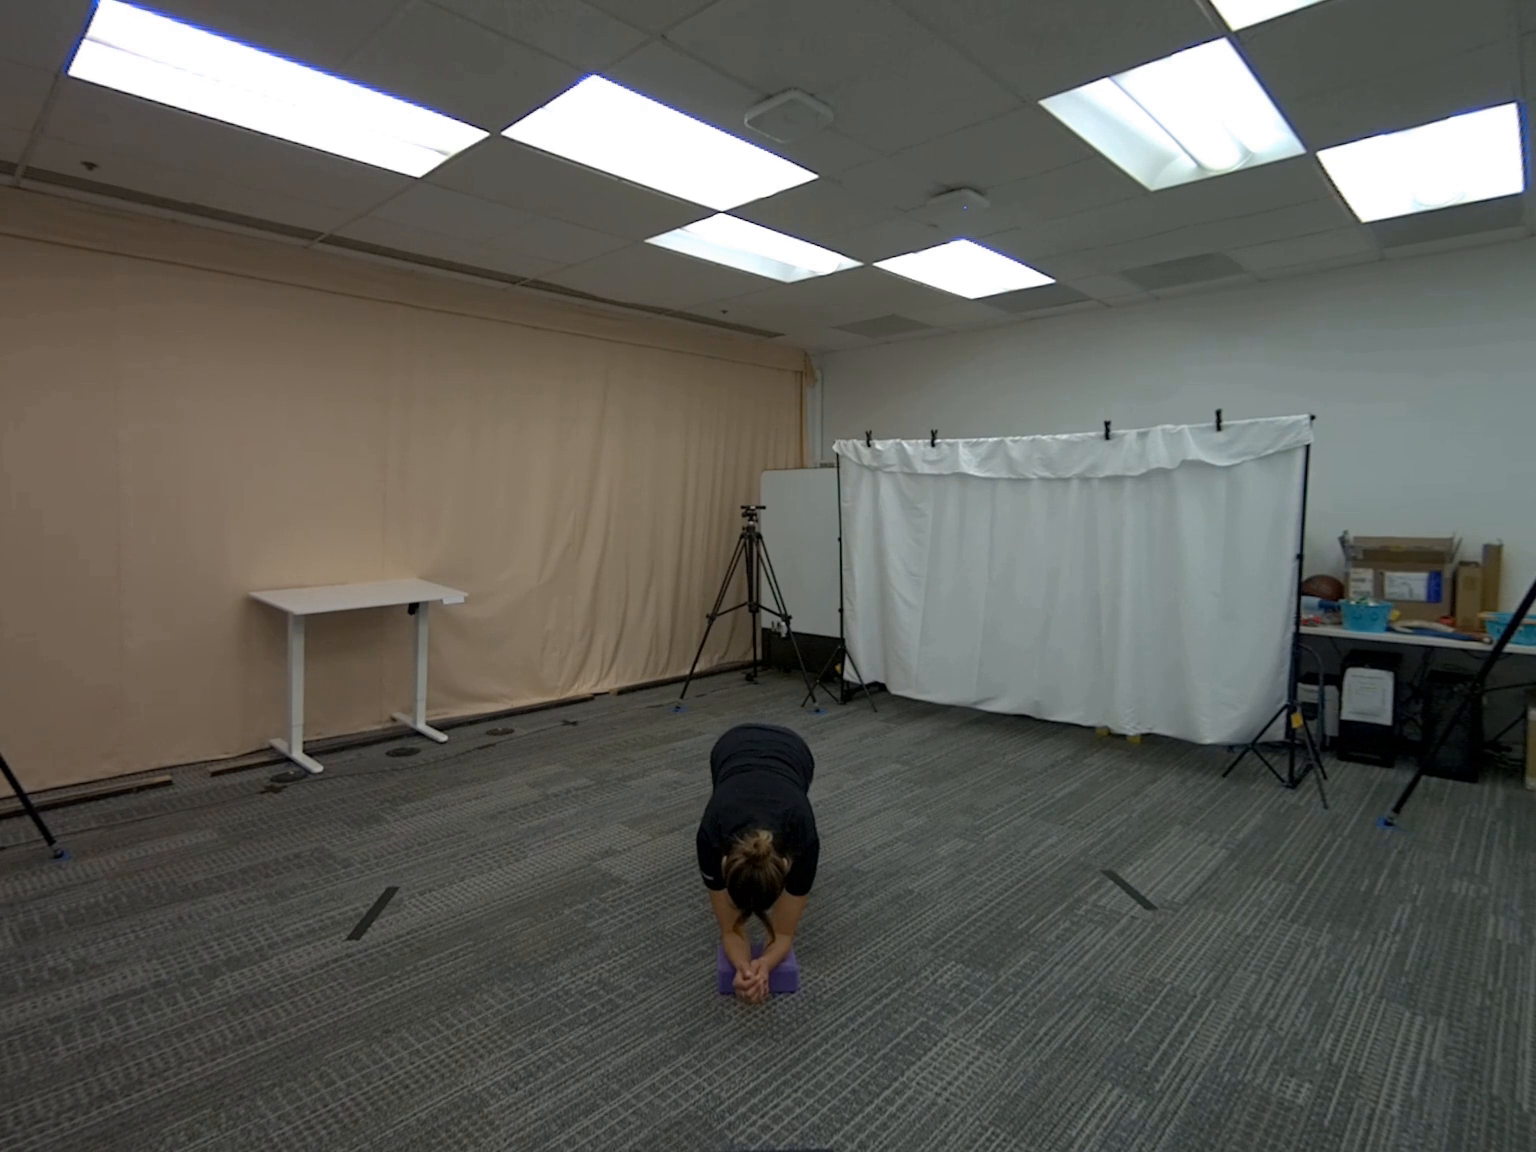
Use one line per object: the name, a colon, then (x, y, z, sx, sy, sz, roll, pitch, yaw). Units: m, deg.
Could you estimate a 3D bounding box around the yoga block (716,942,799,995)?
yoga block: (-0.032, 1.143, 2.471, 0.229, 0.076, 0.149, 0, 5, -2)
